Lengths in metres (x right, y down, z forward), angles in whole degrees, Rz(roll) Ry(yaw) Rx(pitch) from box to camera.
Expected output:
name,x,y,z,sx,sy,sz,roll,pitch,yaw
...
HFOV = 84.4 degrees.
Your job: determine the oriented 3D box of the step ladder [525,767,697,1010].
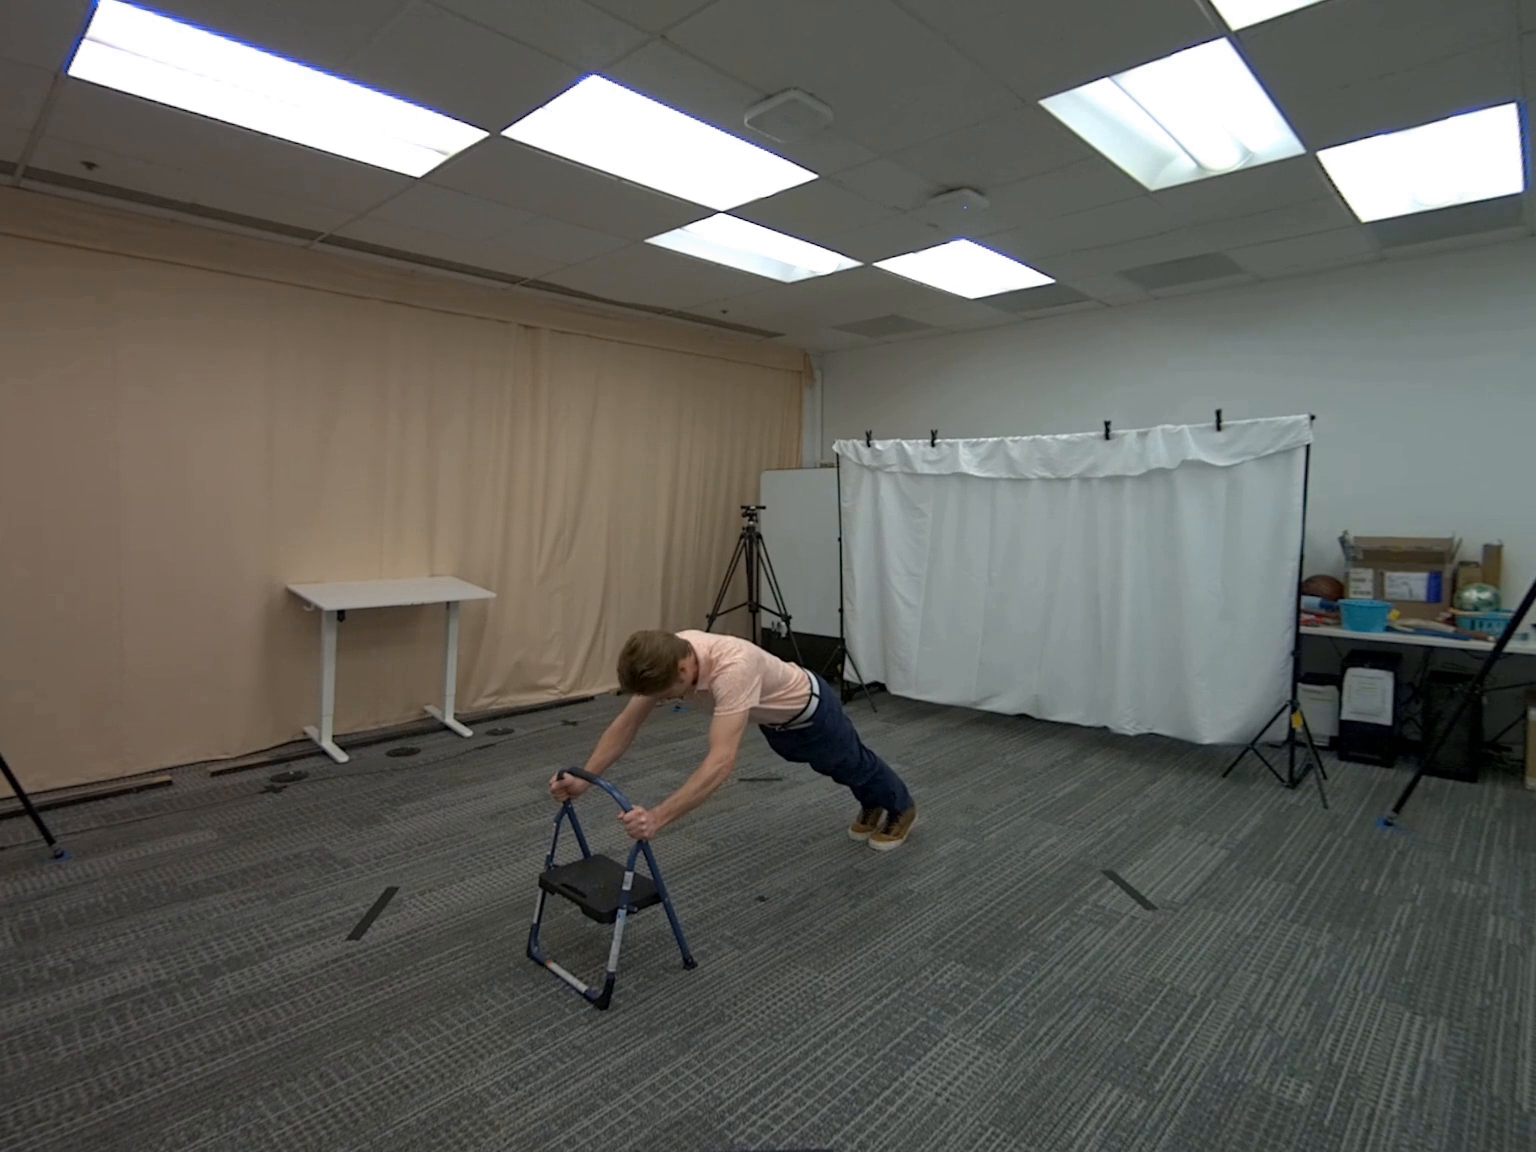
name,x,y,z,sx,sy,sz,roll,pitch,yaw
step ladder,-0.486,0.883,2.567,0.445,0.605,0.338,3,4,44
